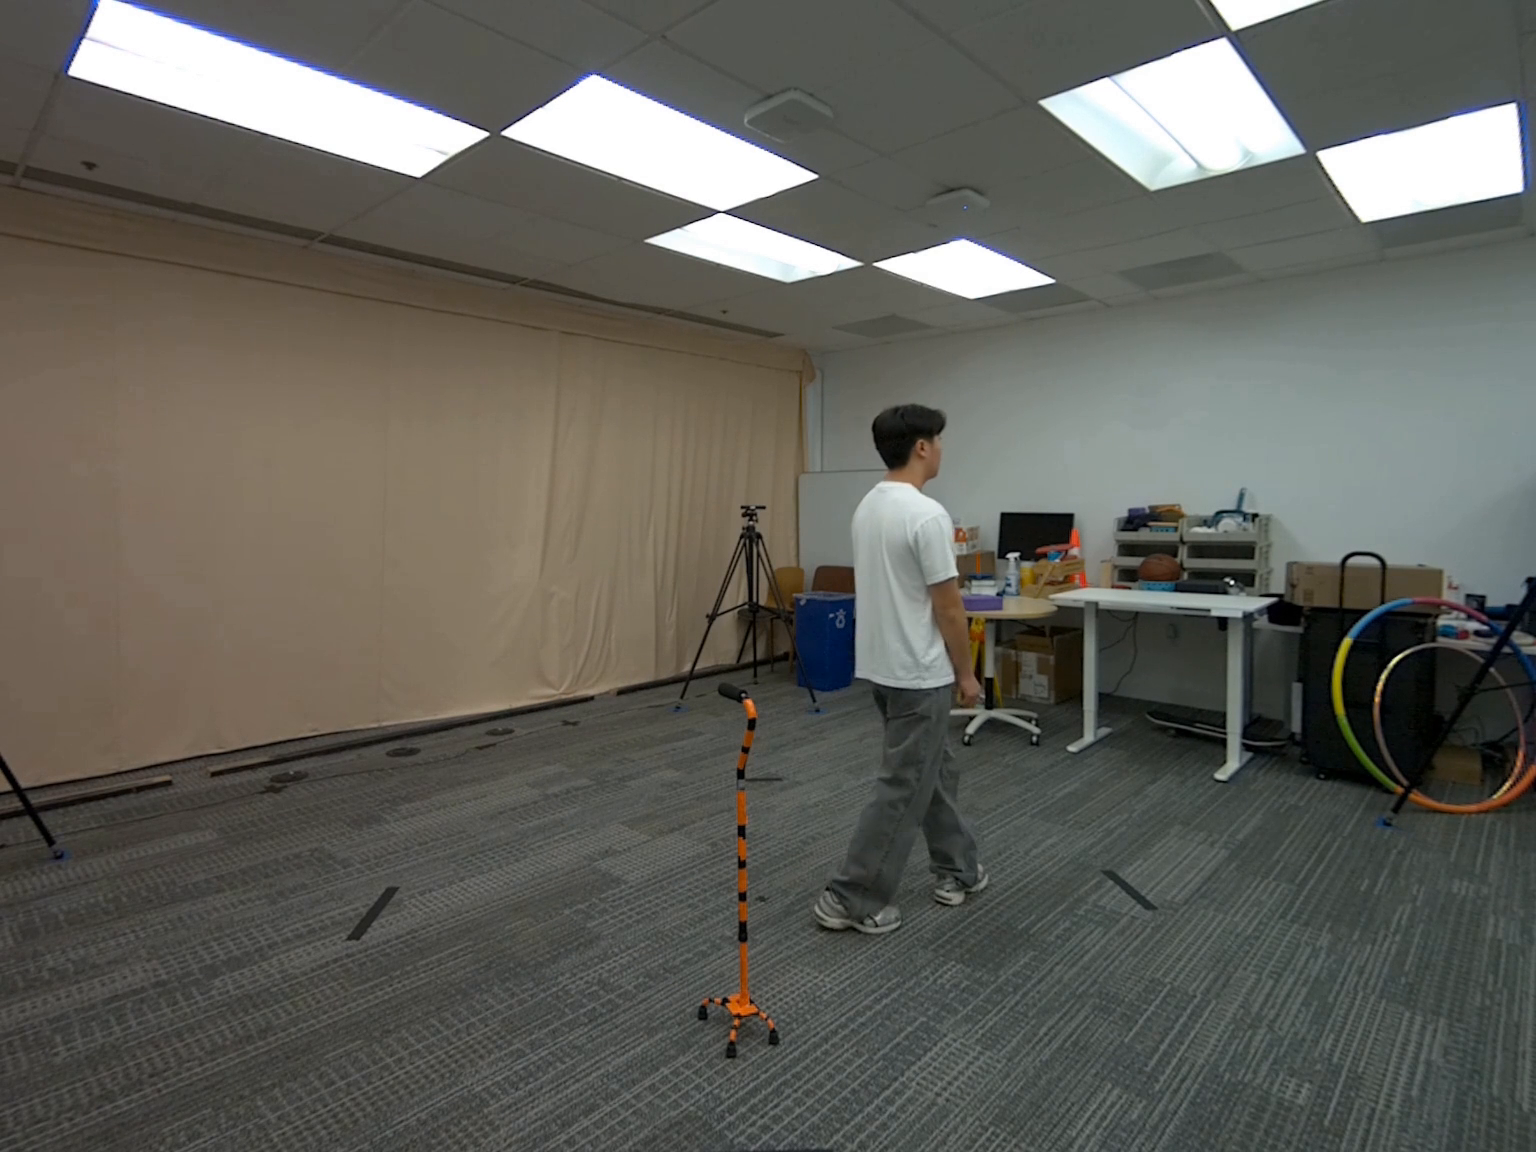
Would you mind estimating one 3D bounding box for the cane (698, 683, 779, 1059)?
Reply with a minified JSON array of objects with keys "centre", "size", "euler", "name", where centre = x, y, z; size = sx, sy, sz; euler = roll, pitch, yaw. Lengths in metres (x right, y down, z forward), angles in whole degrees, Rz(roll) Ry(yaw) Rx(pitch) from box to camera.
[{"centre":[-0.077,0.758,2.214],"size":[0.148,0.906,0.212],"euler":[-2,3,-29],"name":"cane"}]
